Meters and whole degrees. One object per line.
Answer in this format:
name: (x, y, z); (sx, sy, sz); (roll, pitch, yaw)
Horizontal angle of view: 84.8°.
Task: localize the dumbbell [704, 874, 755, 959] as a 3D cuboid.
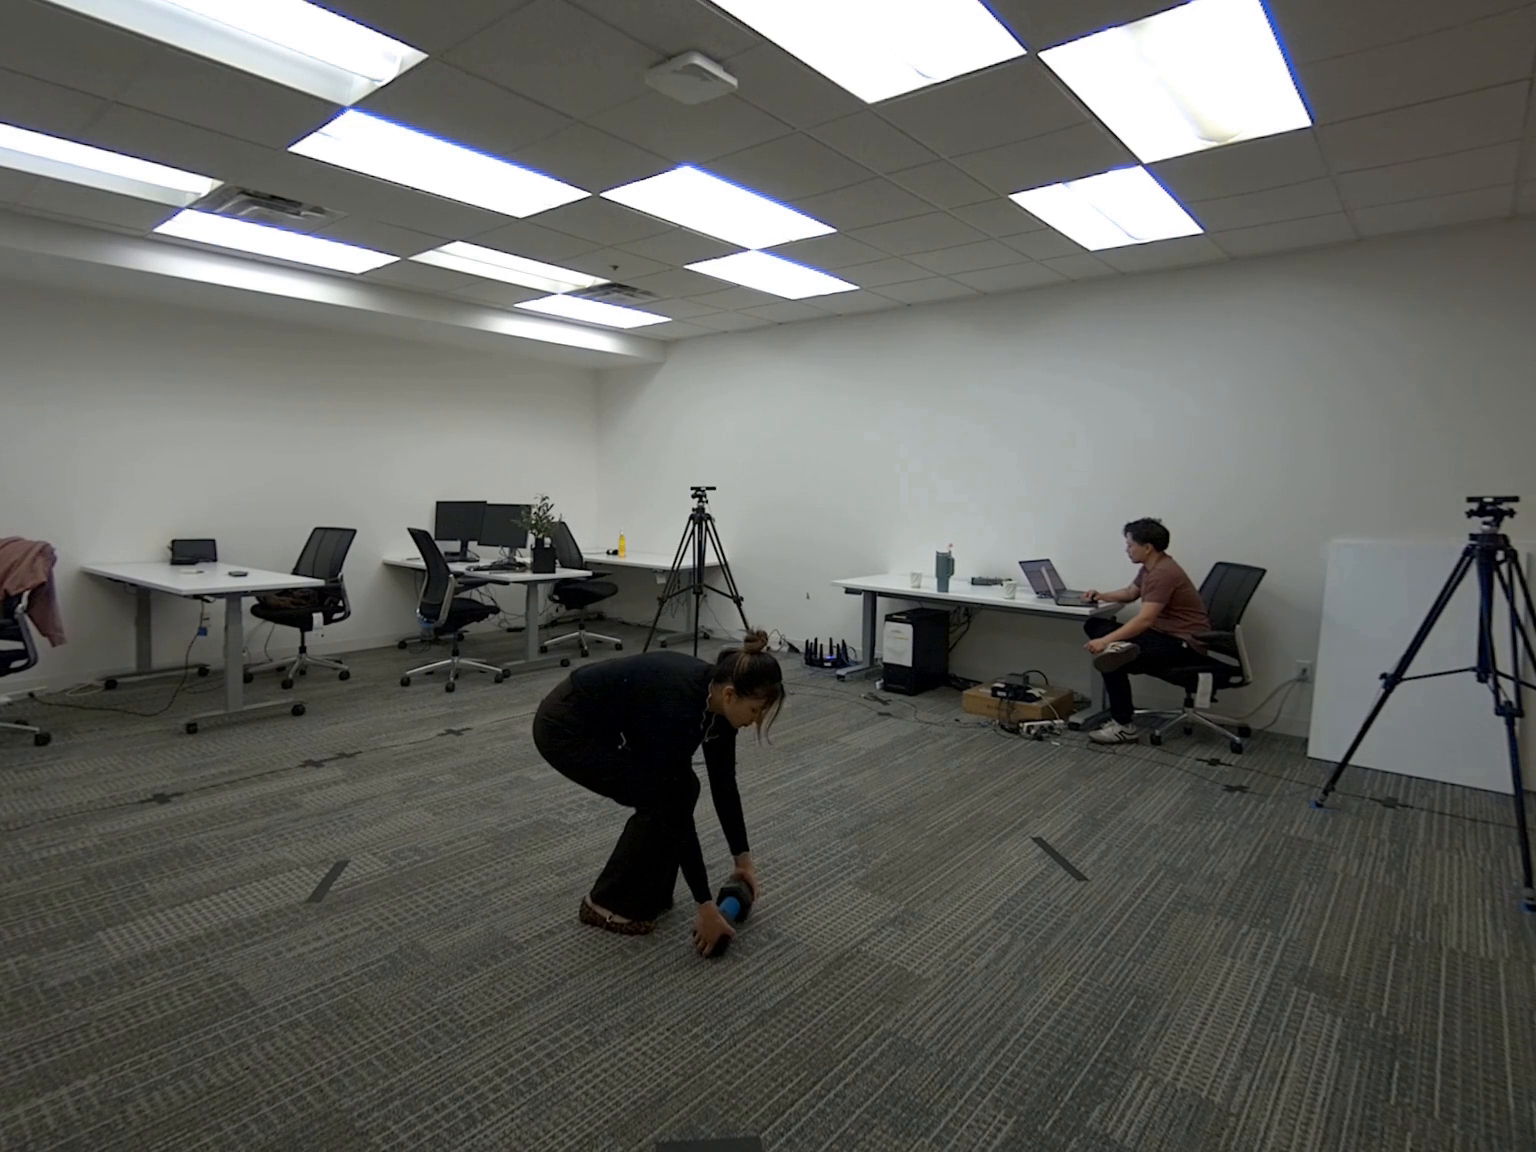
dumbbell: (-0.142, 1.045, 2.642); (0.125, 0.108, 0.289); (-10, 3, 17)
